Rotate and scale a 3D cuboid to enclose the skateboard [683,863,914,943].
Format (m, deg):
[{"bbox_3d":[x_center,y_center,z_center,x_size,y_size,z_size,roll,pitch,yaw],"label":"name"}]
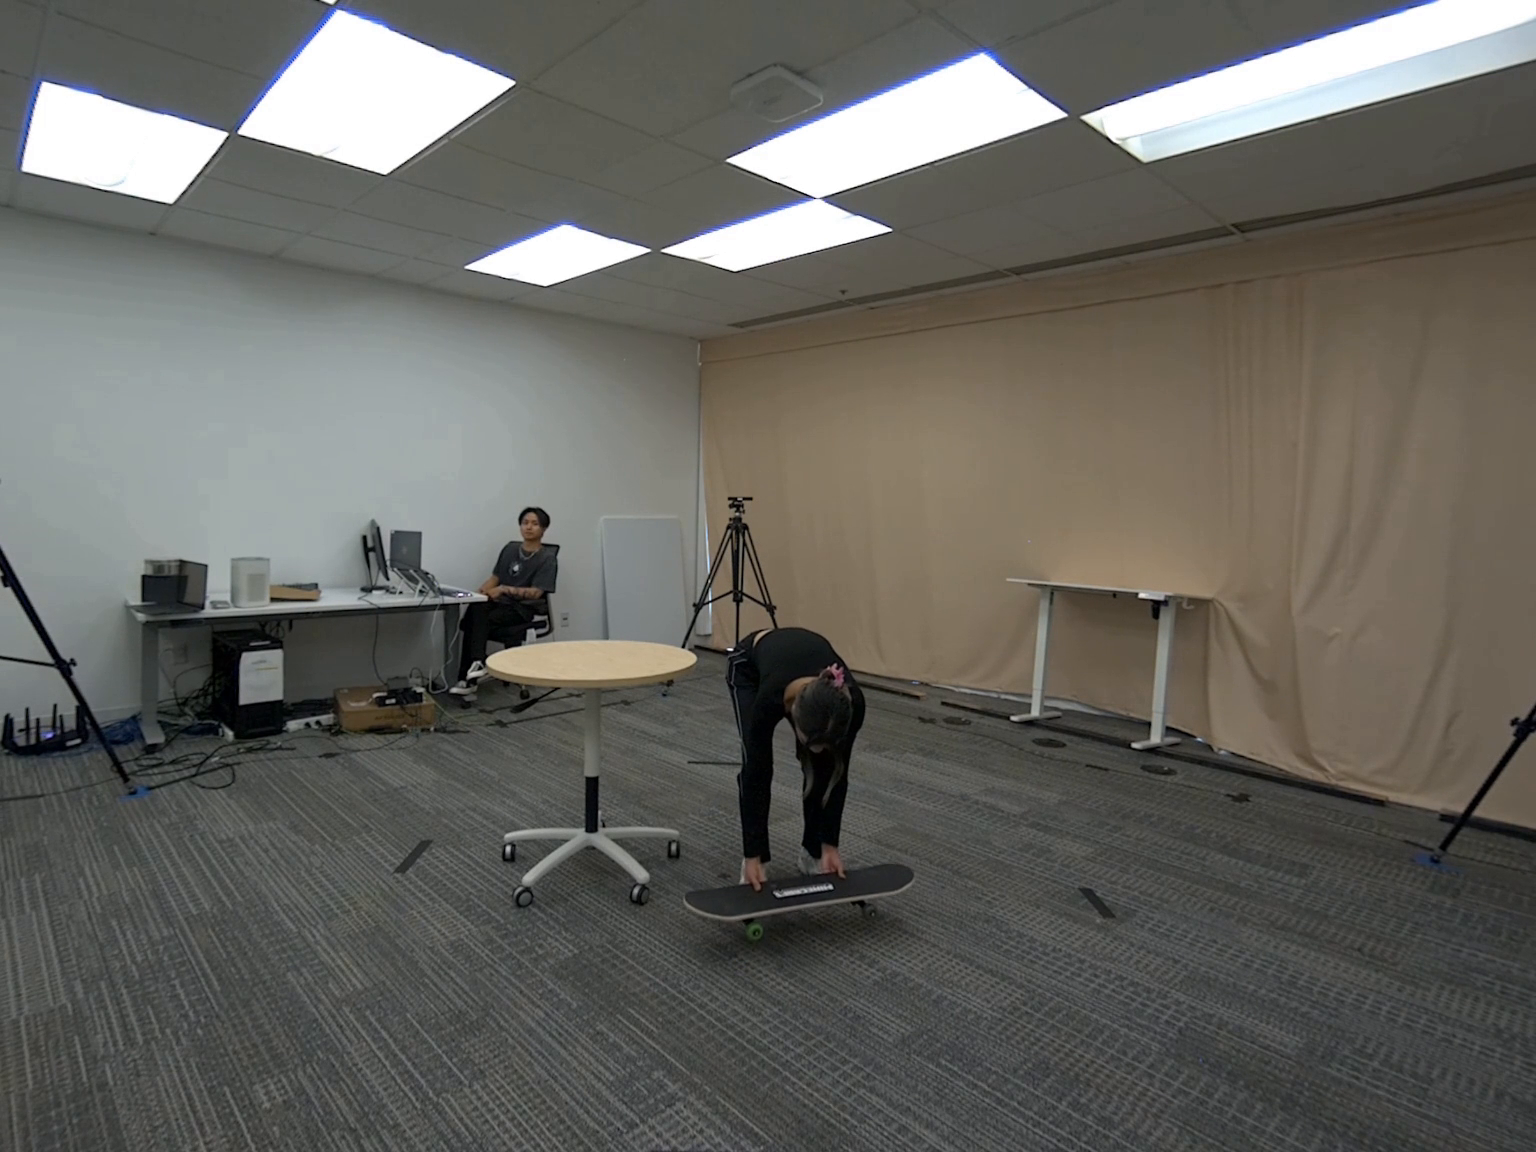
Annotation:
[{"bbox_3d":[0.102,1.022,2.669,0.773,0.110,0.197,0,4,-21],"label":"skateboard"}]
